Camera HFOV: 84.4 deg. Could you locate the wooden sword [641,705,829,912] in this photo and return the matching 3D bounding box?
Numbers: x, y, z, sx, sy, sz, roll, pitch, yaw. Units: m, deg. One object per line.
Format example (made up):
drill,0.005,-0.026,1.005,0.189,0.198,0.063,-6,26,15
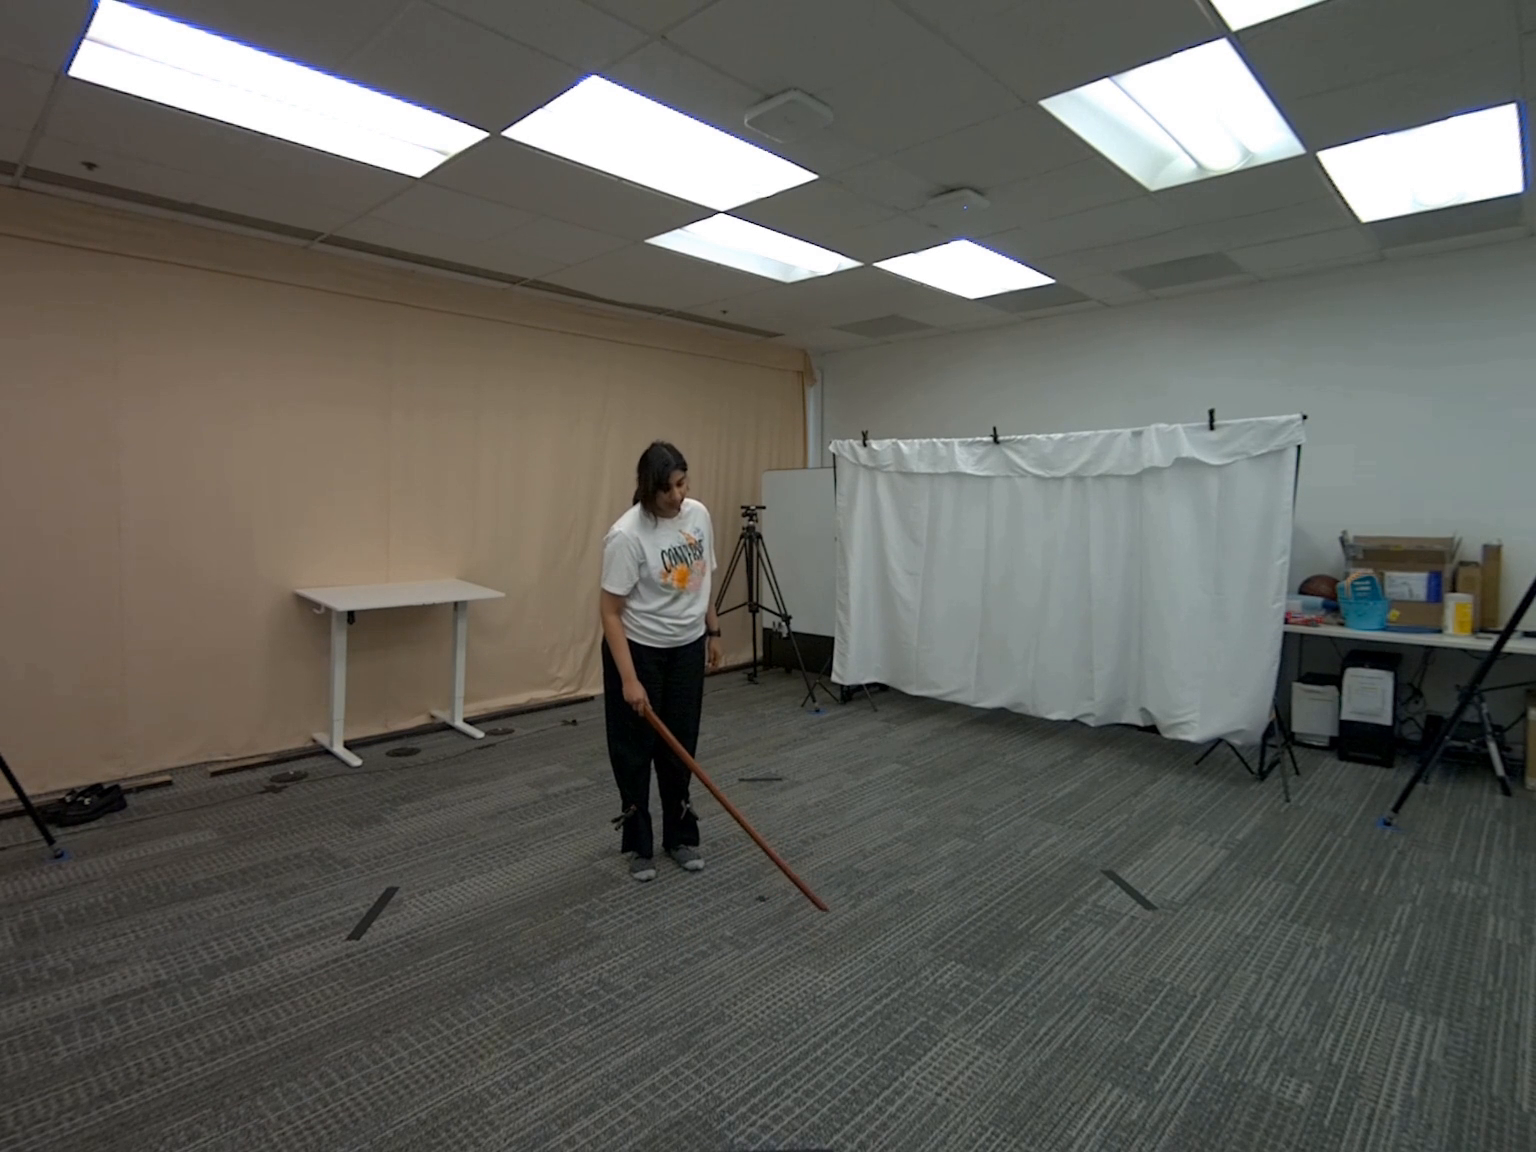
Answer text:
wooden sword,-0.152,0.748,2.865,1.054,0.051,0.023,40,-21,25
